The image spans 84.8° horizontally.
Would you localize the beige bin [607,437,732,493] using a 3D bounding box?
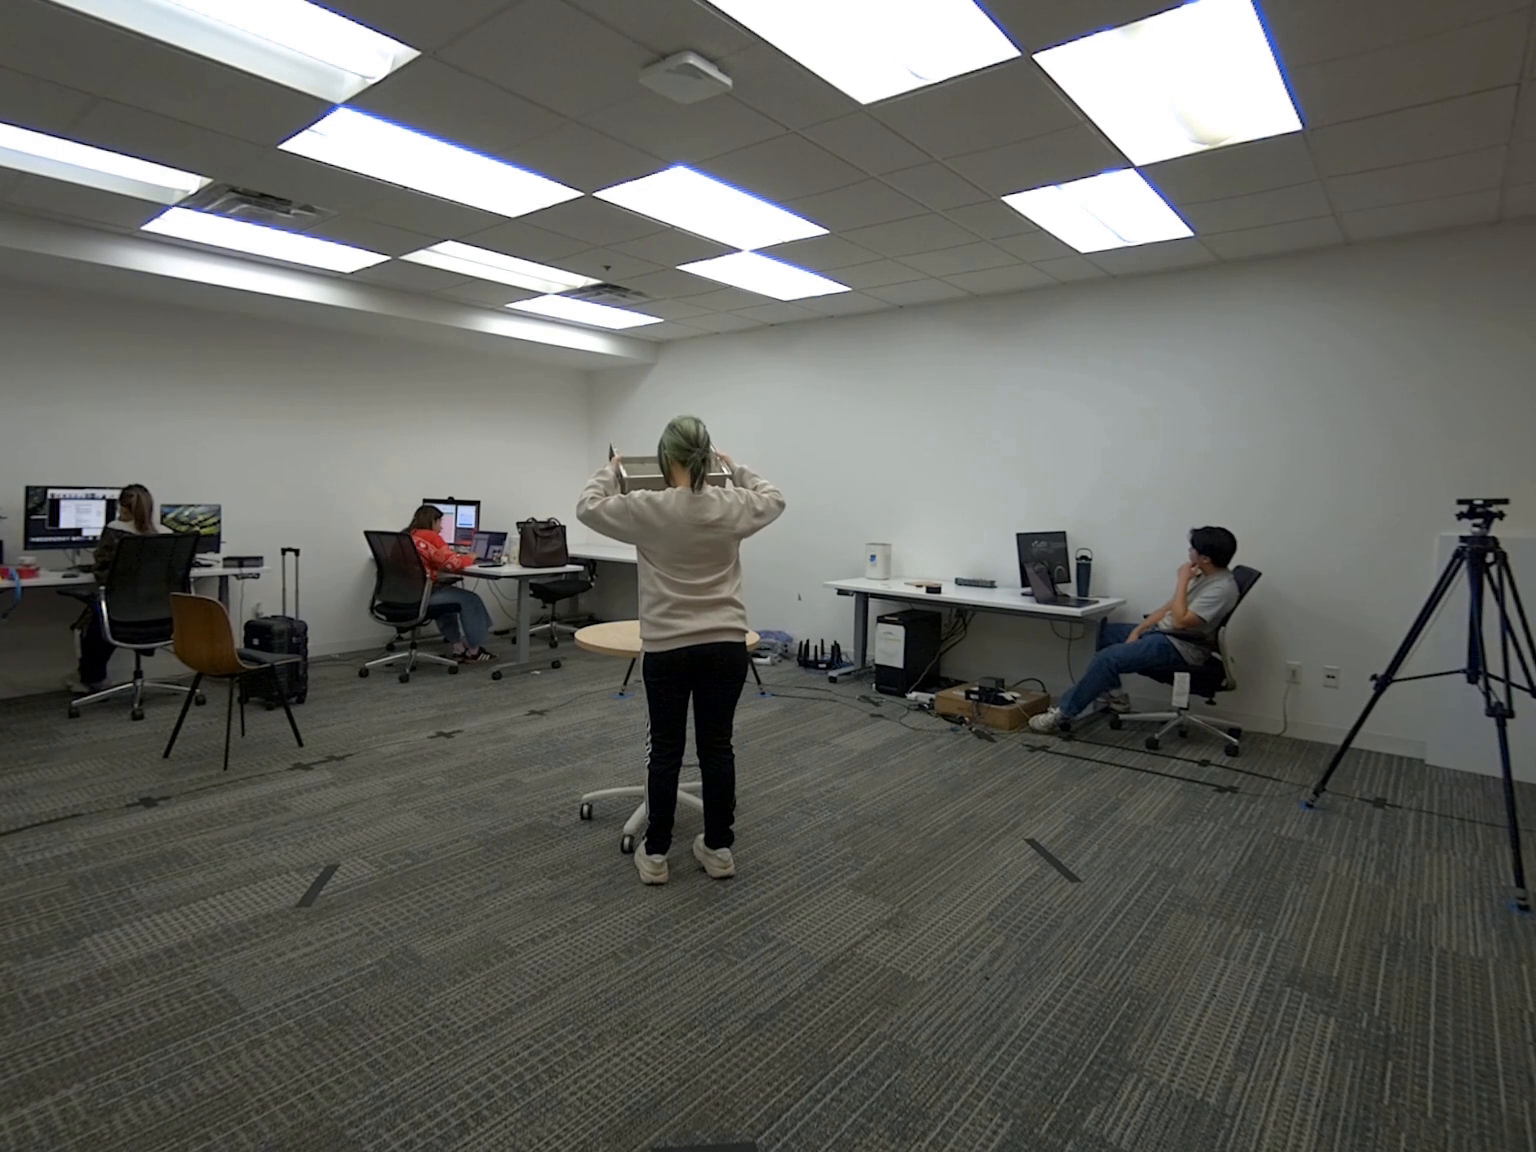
[{"bbox_3d":[-0.414,-0.398,3.416,0.415,0.185,0.392,-4,34,-18],"label":"beige bin"}]
